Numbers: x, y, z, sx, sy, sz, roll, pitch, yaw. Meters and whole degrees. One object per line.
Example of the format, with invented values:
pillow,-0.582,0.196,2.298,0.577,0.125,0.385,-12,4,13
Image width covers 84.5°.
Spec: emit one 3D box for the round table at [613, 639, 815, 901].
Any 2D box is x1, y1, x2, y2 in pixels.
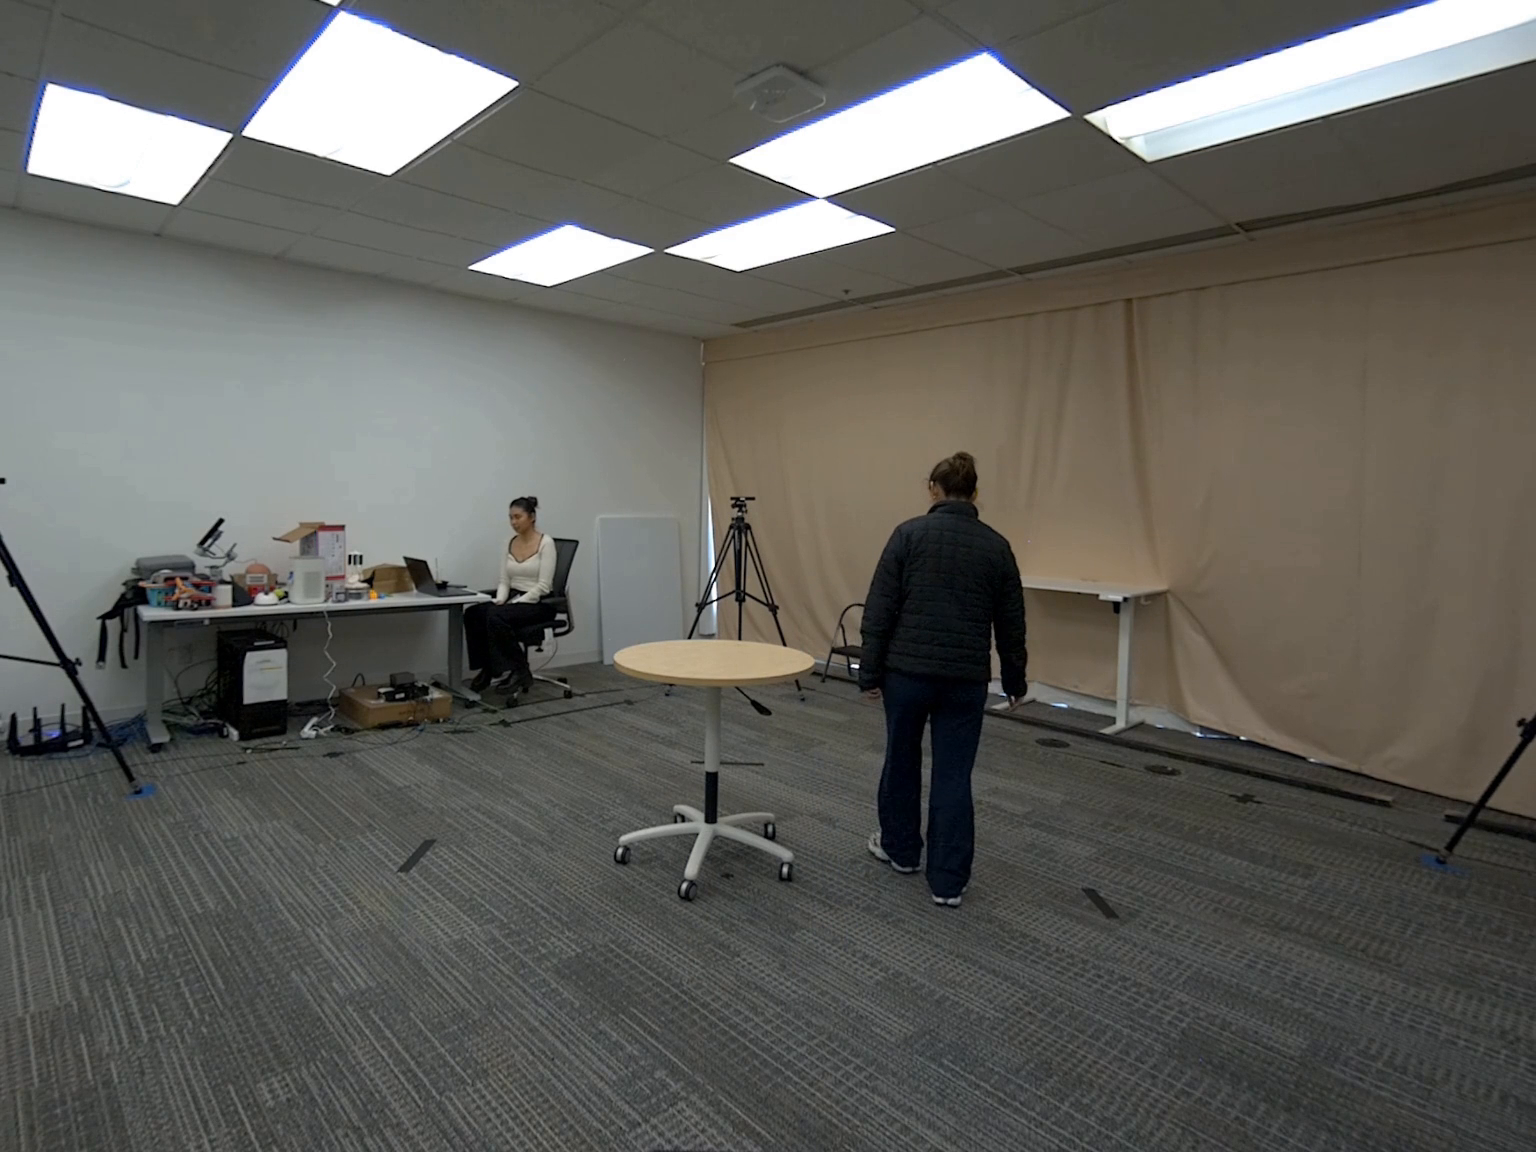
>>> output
round table,-0.207,0.697,3.237,0.784,0.784,0.788,1,5,-1
